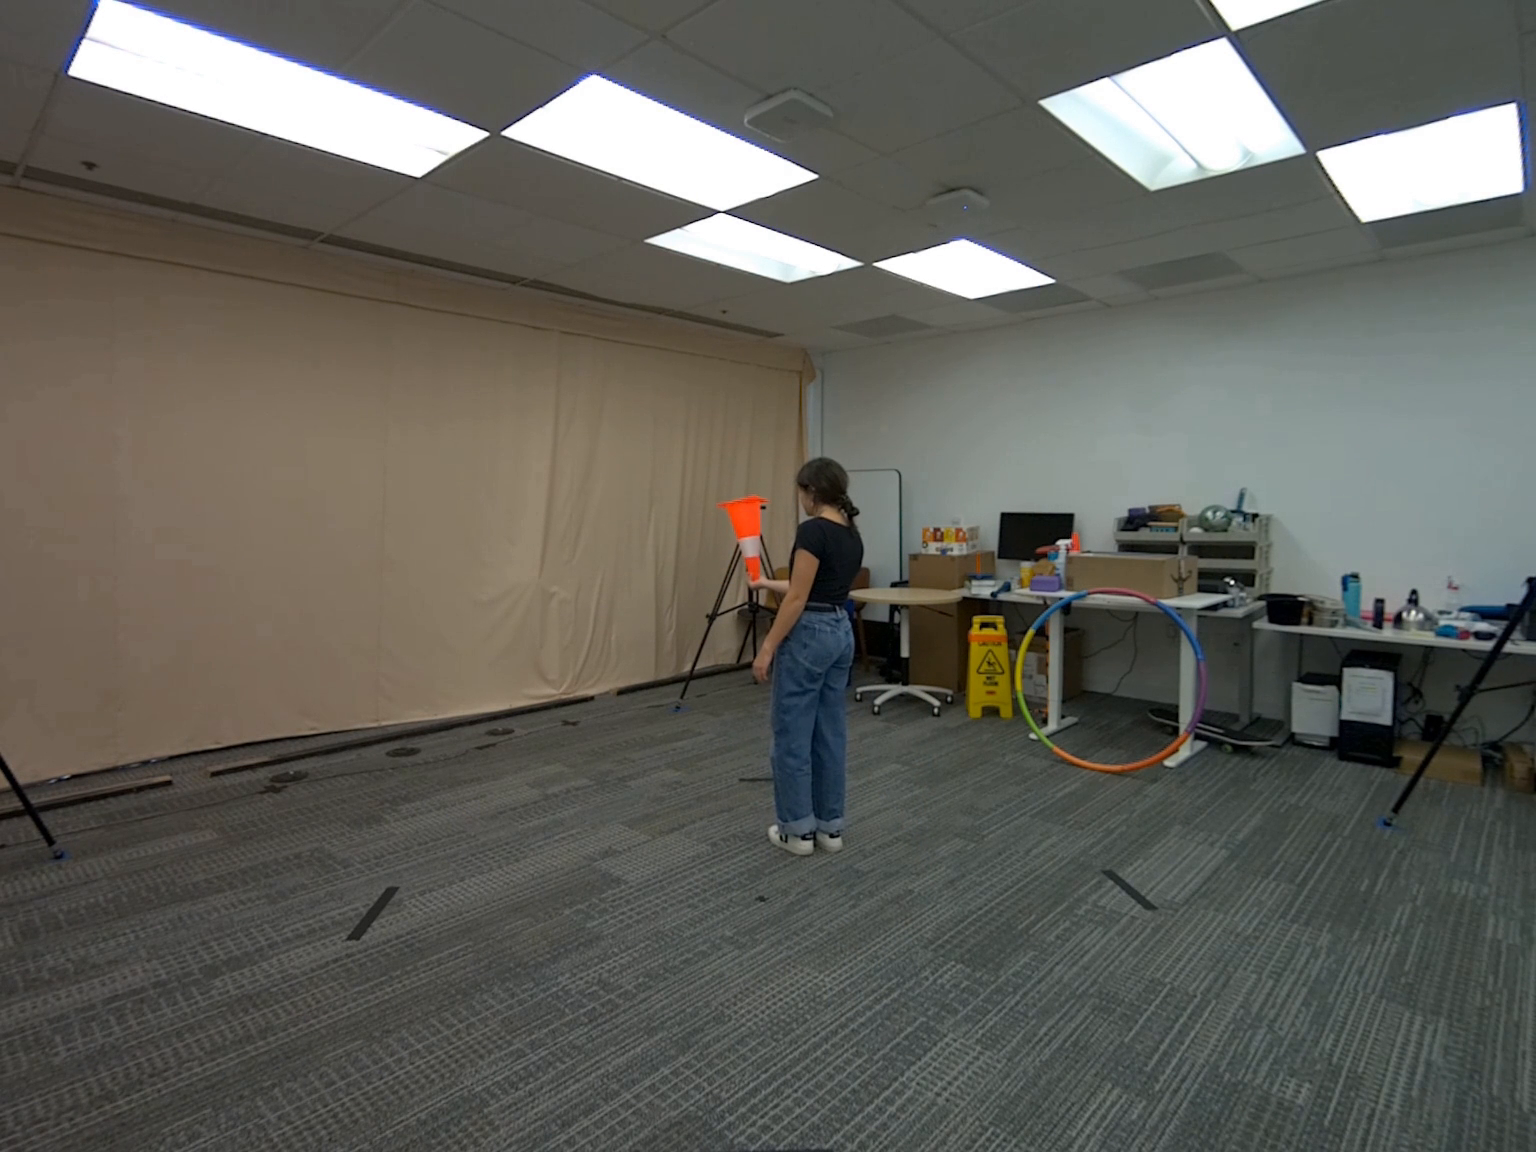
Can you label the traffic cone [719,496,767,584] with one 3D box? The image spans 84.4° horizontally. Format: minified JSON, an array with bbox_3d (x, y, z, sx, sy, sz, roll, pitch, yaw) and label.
[{"bbox_3d":[-0.079,-0.148,3.866,0.206,0.386,0.200,-12,-10,16],"label":"traffic cone"}]
